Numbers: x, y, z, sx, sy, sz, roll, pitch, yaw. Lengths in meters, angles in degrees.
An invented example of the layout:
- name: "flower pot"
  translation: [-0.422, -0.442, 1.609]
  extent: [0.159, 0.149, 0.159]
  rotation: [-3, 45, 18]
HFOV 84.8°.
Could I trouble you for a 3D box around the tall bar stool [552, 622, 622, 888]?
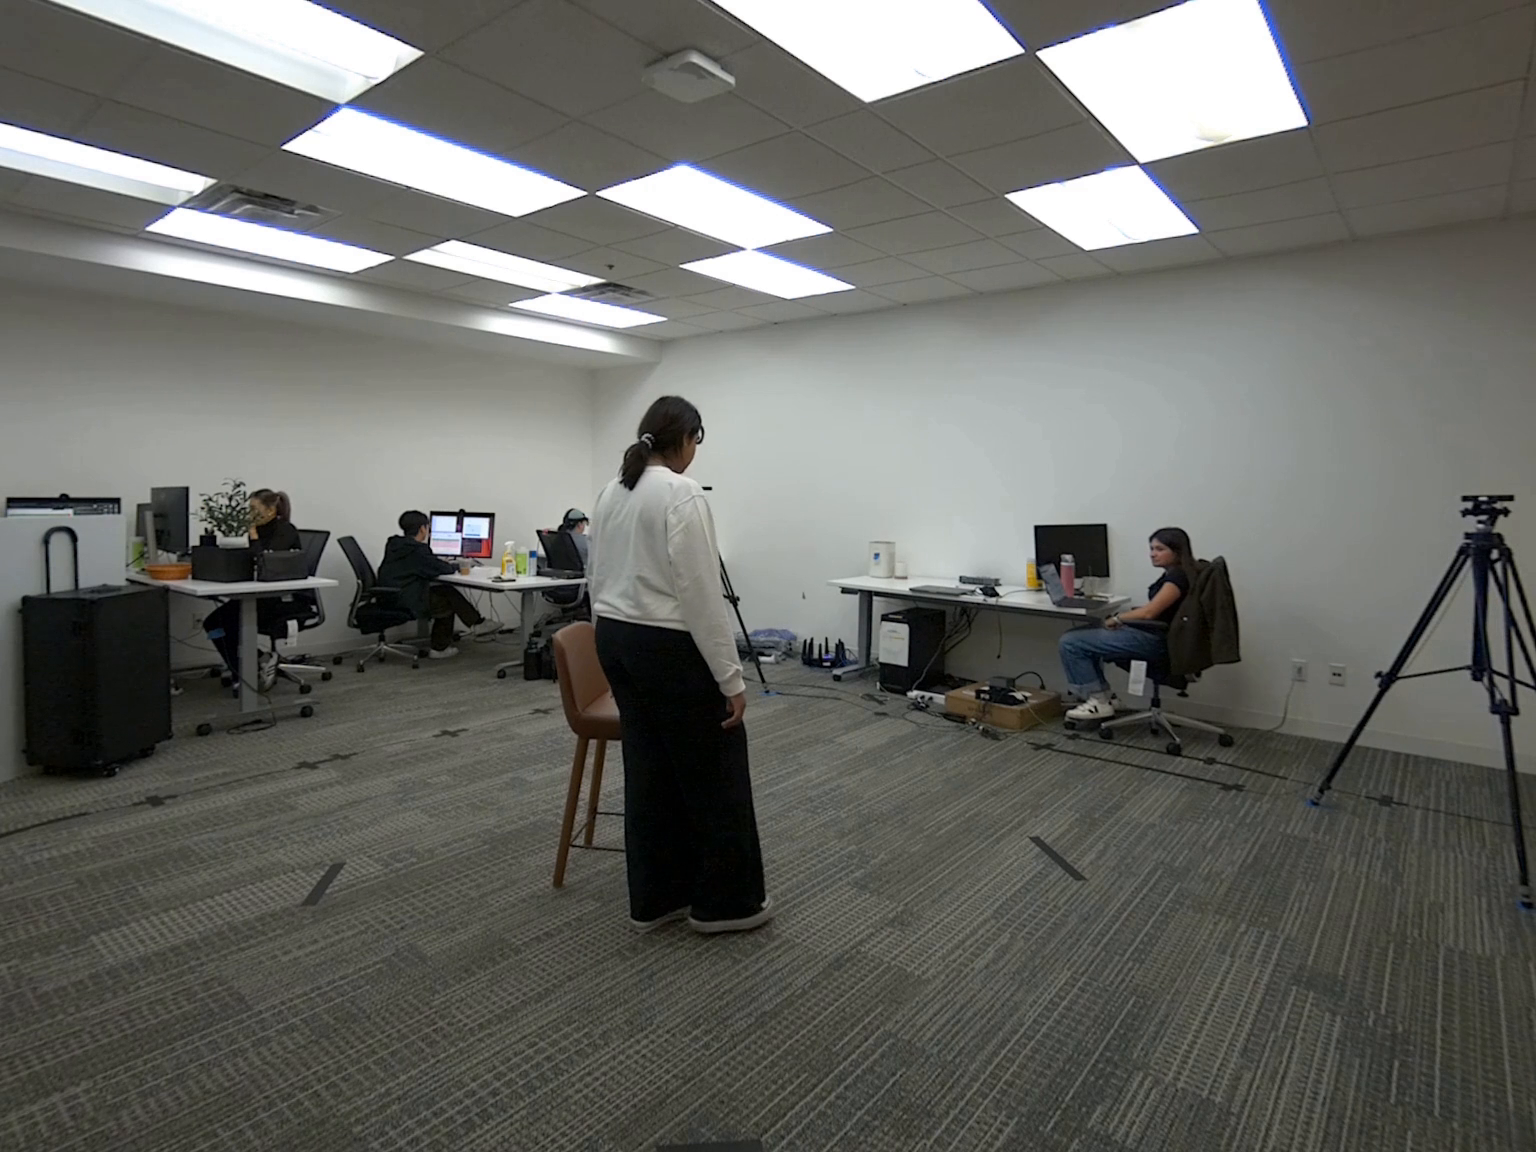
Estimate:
- name: "tall bar stool"
  translation: [-0.507, 0.631, 3.069]
  extent: [0.472, 0.888, 0.453]
  rotation: [0, 2, 8]
